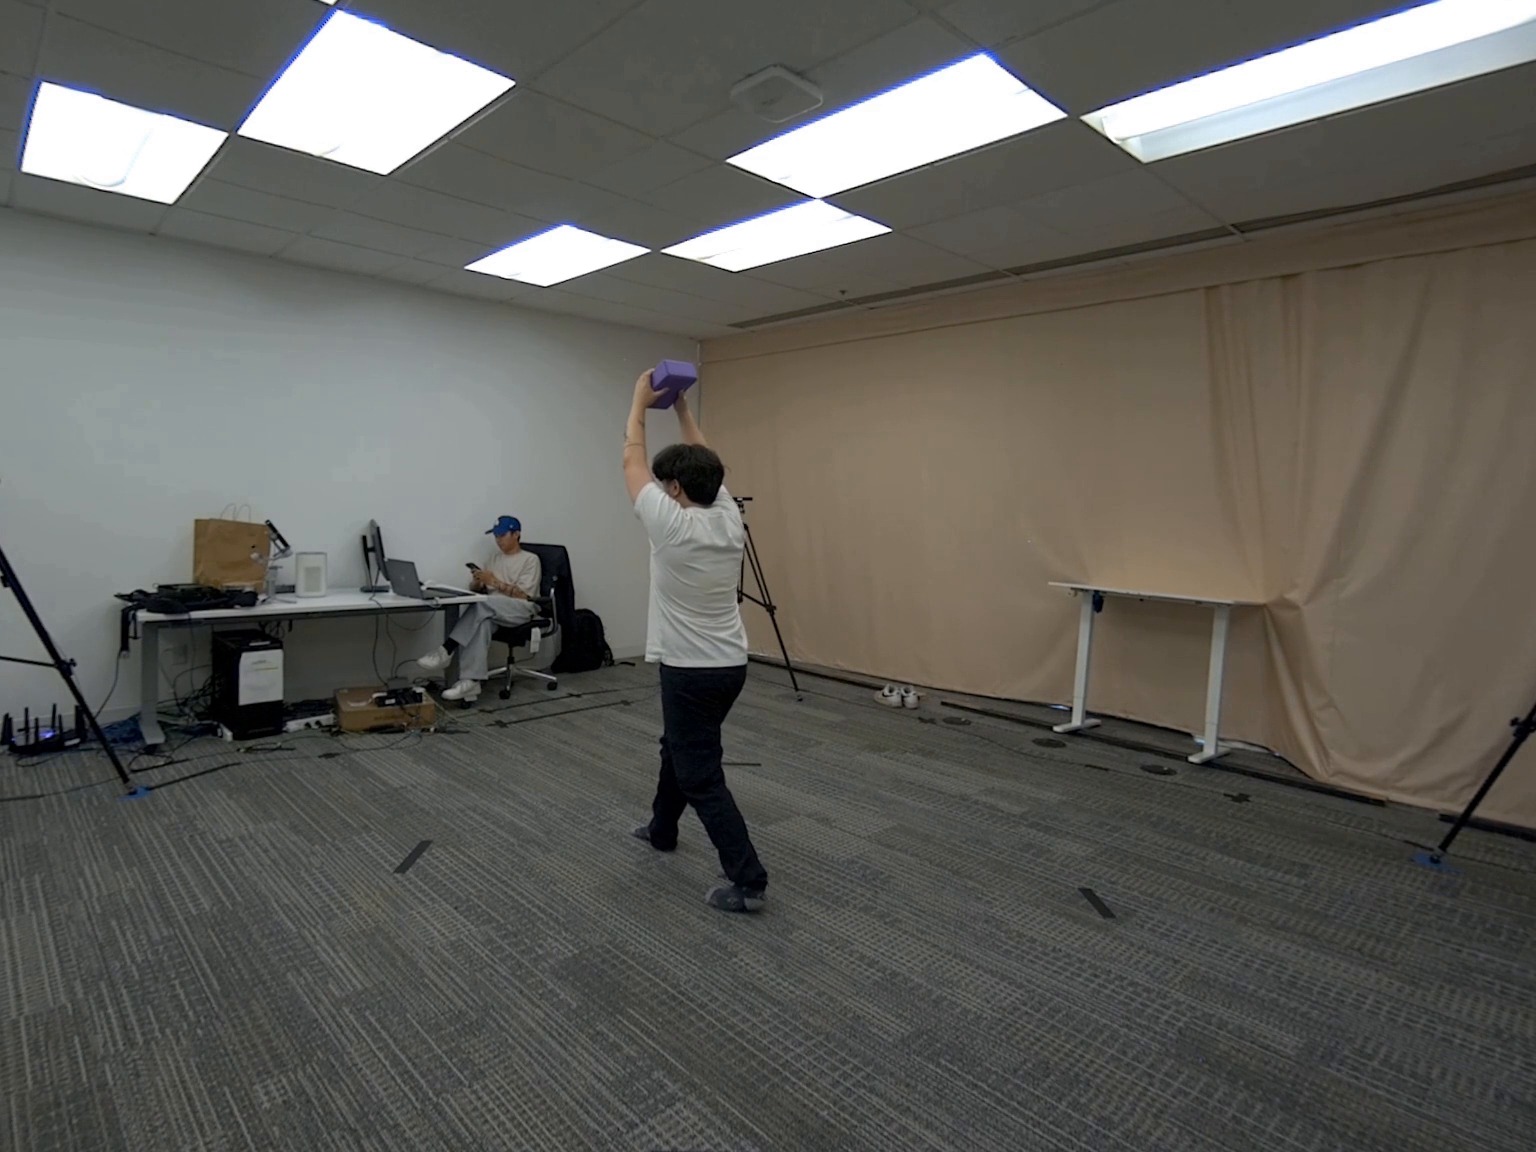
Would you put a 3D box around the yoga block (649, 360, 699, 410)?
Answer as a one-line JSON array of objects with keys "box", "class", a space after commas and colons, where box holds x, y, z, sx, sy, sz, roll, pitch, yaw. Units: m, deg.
[{"box": [-0.392, -0.724, 3.211, 0.146, 0.077, 0.231, -5, -19, -44], "class": "yoga block"}]
